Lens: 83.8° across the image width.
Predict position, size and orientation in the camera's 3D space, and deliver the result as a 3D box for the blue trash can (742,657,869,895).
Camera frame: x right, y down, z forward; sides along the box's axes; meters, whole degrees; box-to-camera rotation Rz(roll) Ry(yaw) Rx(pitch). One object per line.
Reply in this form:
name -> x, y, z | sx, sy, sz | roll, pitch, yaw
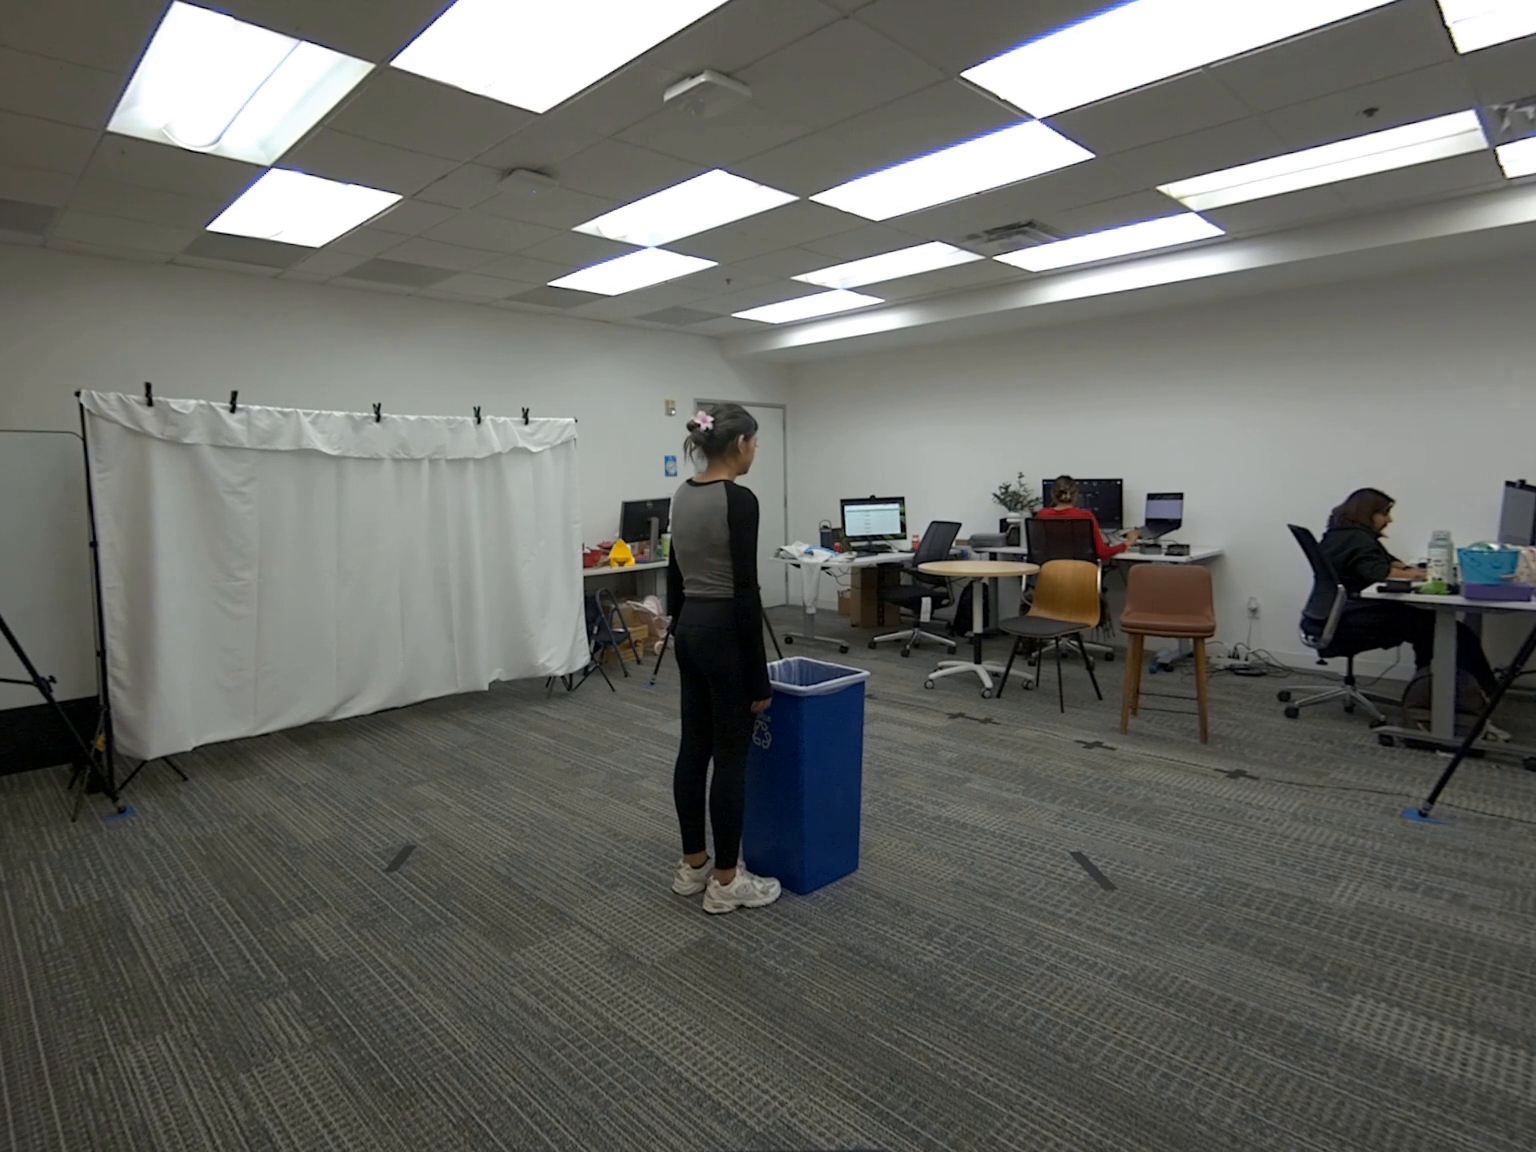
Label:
blue trash can -> 0.123, 0.691, 3.032 | 0.368, 0.711, 0.385 | -5, 6, -43
